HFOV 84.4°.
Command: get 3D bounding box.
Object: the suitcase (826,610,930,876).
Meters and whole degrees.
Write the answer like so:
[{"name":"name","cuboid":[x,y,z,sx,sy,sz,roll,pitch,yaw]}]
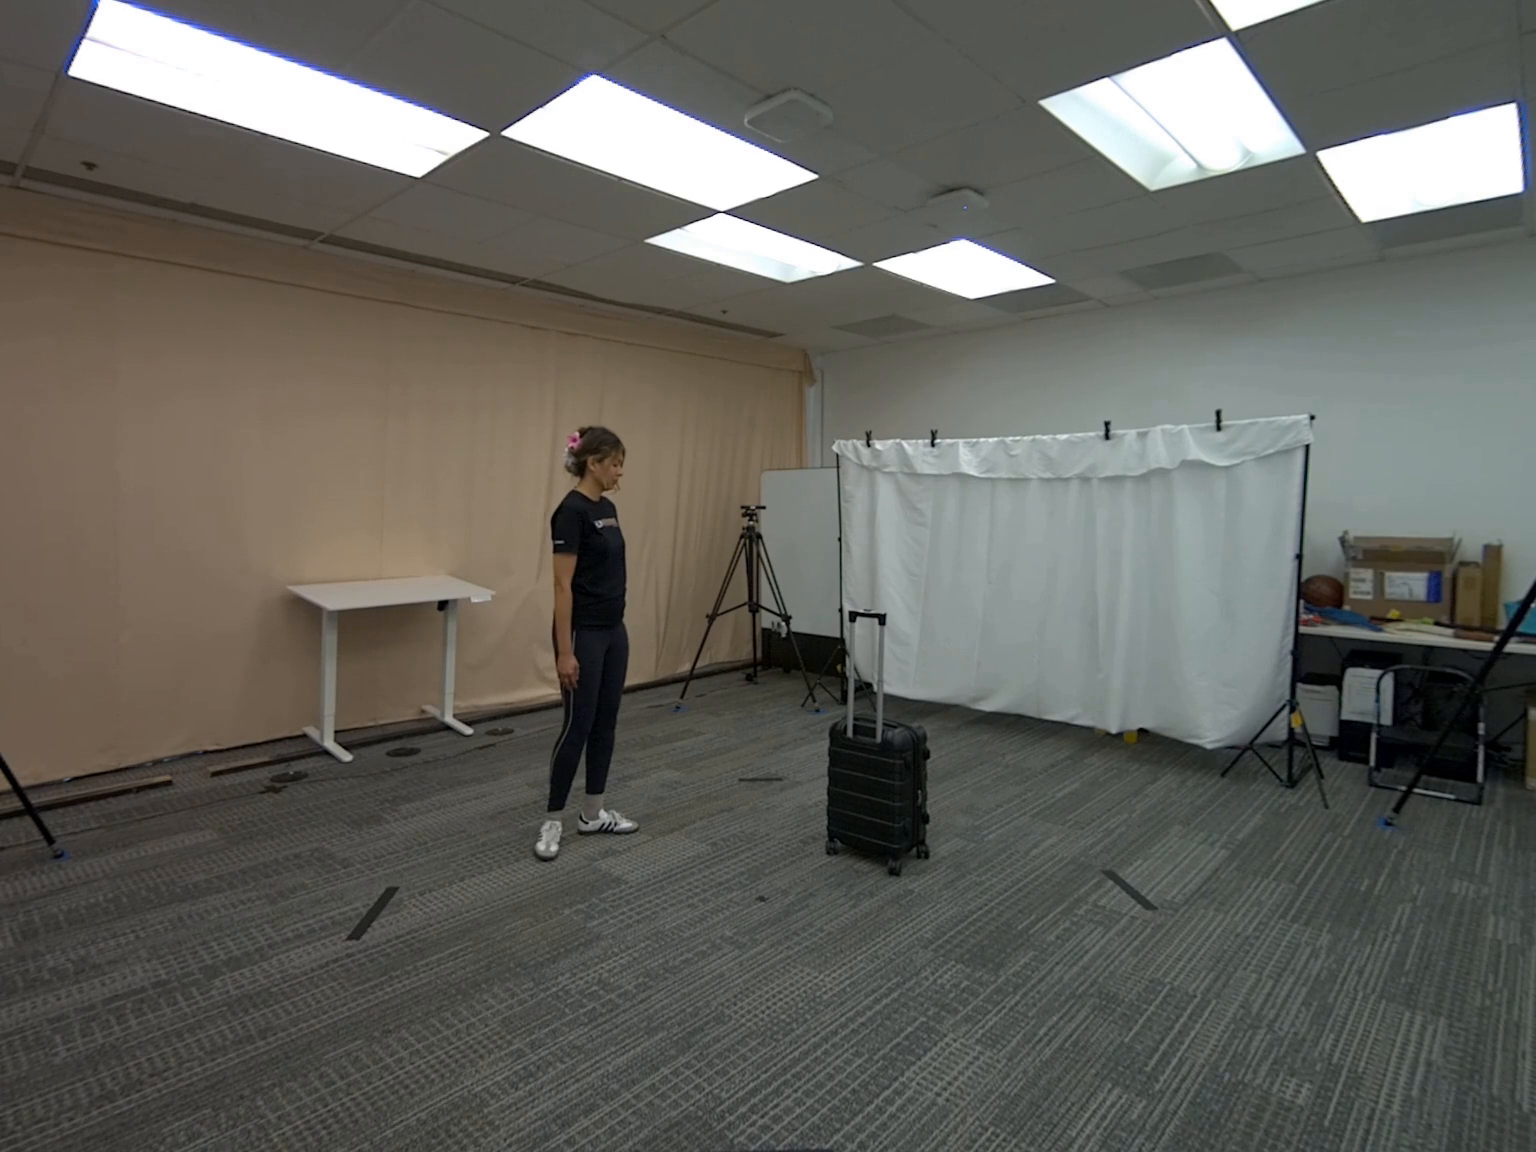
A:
[{"name":"suitcase","cuboid":[0.446,0.635,3.363,0.396,0.979,0.249,1,-1,39]}]
